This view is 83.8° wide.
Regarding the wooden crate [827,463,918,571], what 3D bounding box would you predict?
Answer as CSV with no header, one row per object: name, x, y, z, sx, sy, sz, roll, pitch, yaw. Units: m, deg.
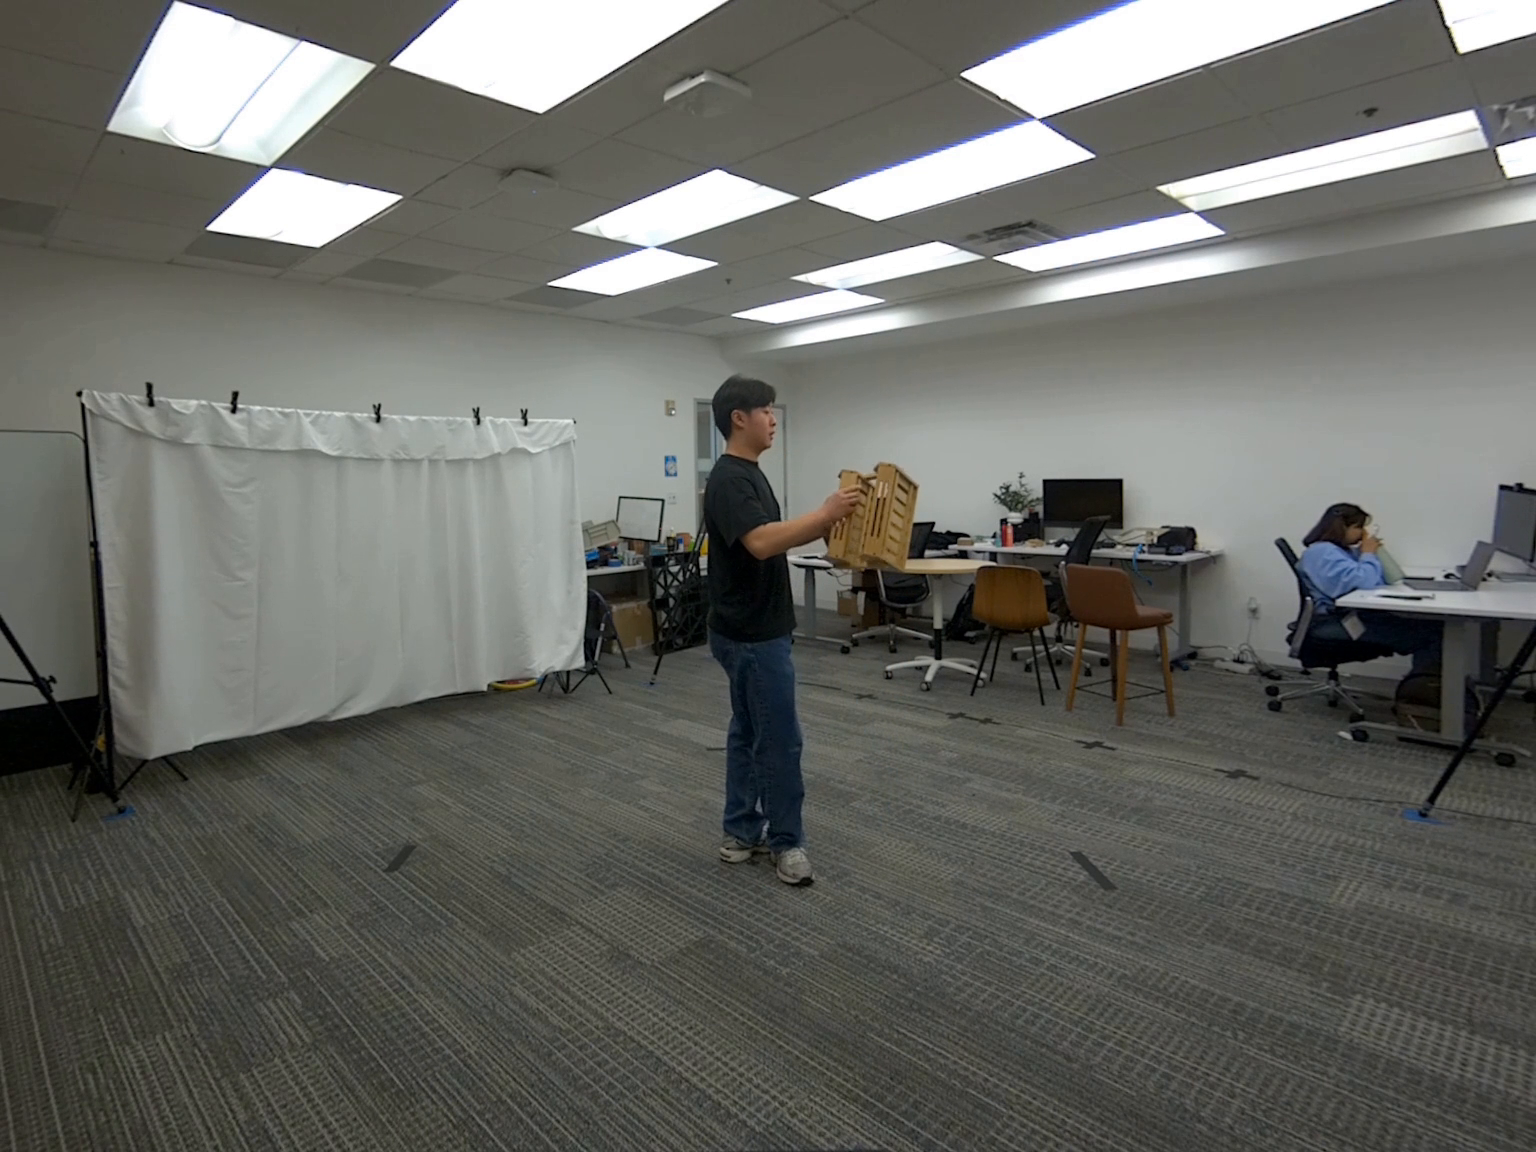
wooden crate,0.316,-0.191,2.838,0.281,0.326,0.291,6,-10,33
